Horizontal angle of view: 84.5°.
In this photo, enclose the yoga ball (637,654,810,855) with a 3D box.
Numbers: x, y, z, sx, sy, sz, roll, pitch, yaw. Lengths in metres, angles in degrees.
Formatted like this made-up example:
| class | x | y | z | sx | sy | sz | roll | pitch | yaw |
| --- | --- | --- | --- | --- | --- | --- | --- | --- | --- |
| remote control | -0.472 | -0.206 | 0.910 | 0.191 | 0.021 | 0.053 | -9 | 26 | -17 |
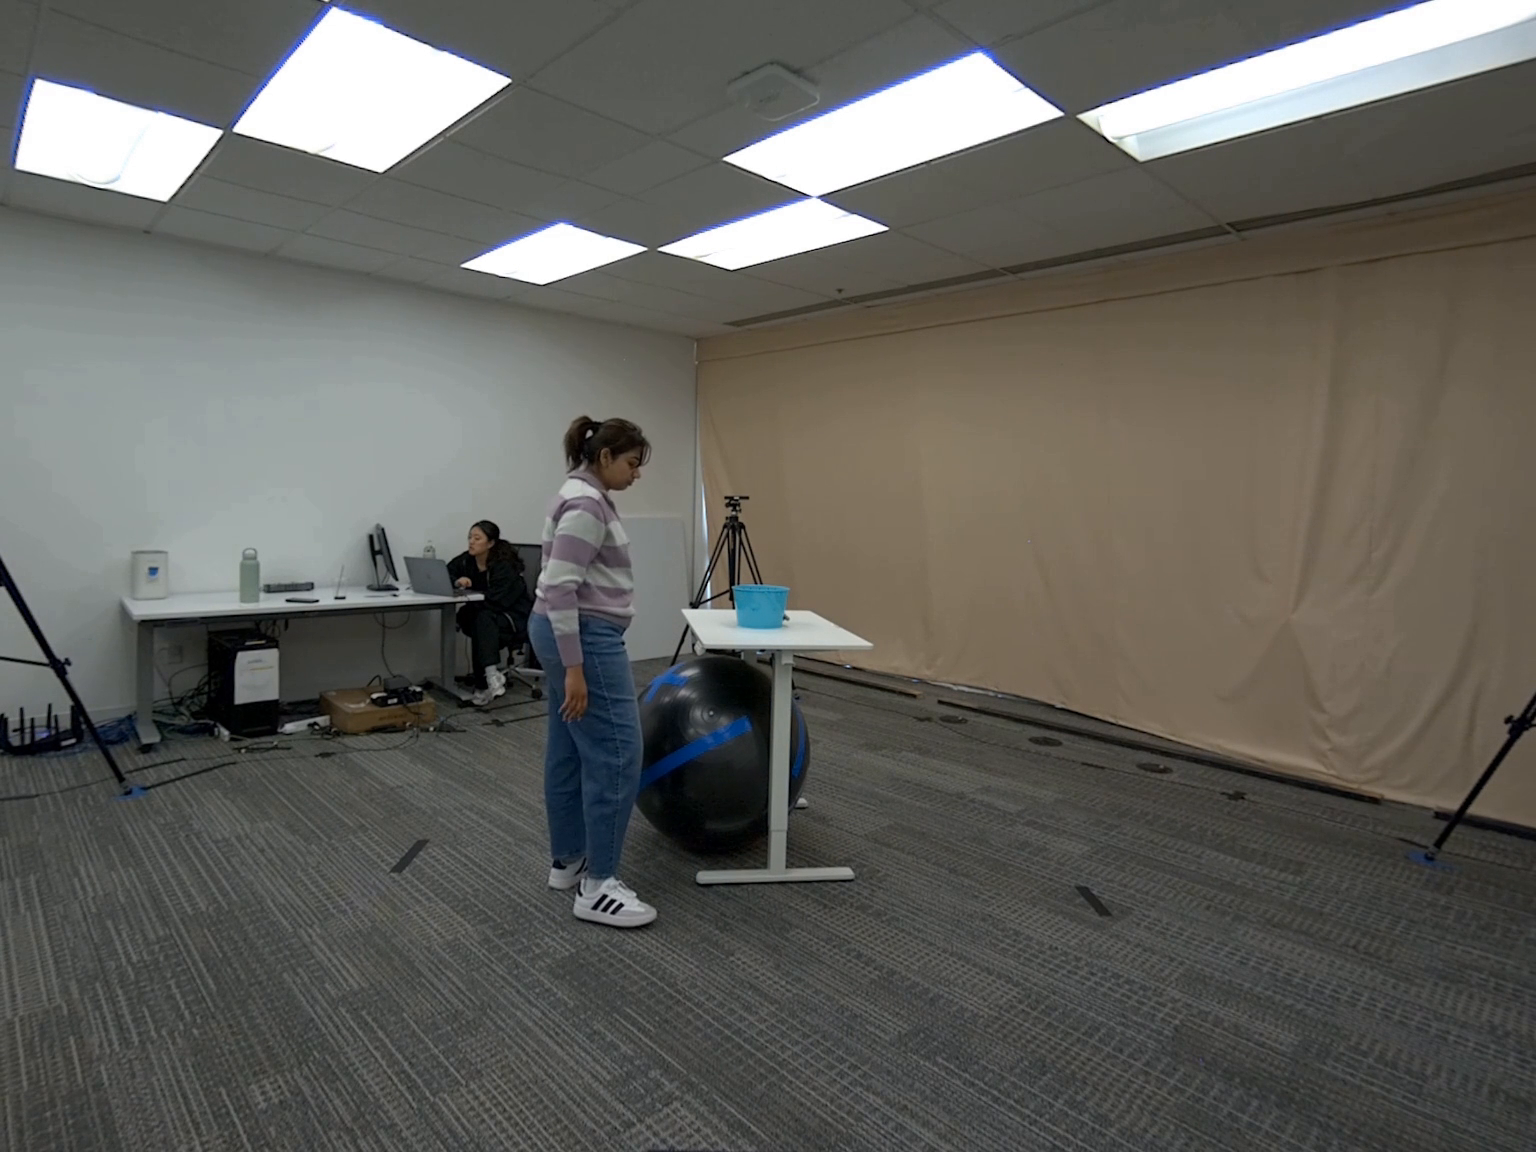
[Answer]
| class | x | y | z | sx | sy | sz | roll | pitch | yaw |
| --- | --- | --- | --- | --- | --- | --- | --- | --- | --- |
| yoga ball | -0.218 | 0.711 | 3.405 | 0.757 | 0.756 | 0.761 | 1 | 4 | -1 |
